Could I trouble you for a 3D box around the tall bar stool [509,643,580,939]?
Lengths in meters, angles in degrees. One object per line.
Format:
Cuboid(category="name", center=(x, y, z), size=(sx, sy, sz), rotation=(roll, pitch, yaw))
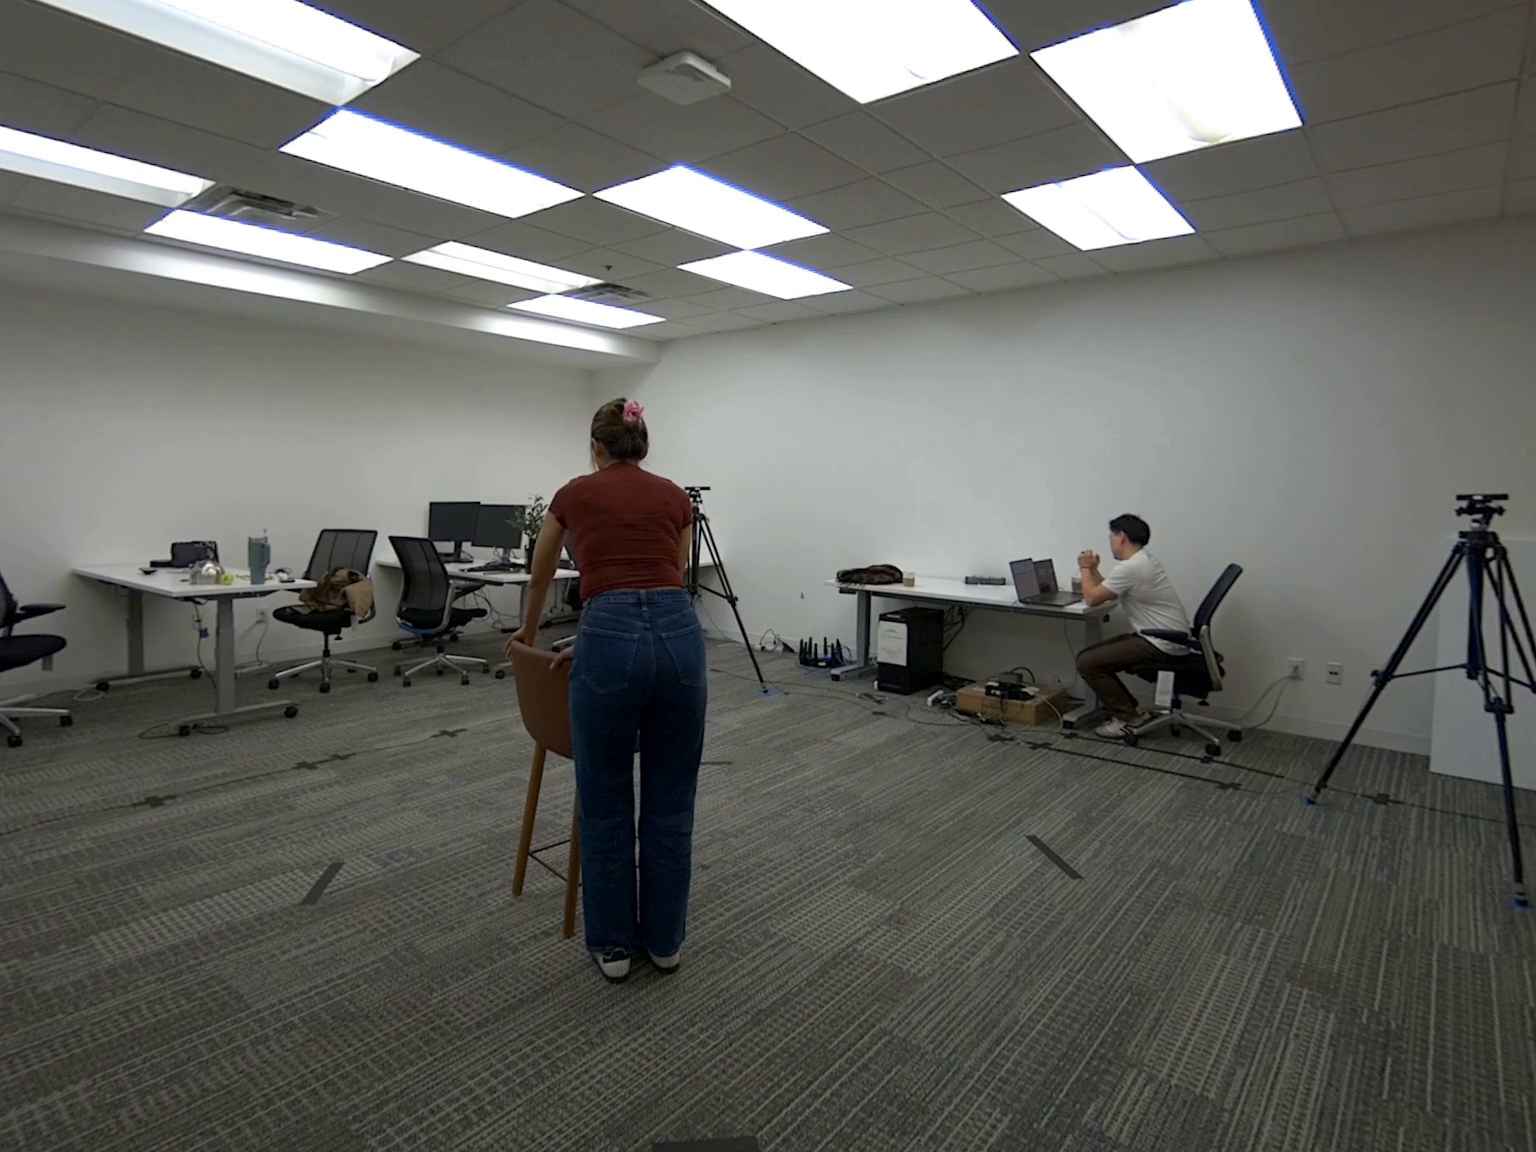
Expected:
Cuboid(category="tall bar stool", center=(-0.598, 0.647, 2.866), size=(0.454, 0.886, 0.472), rotation=(-5, 6, -41))
